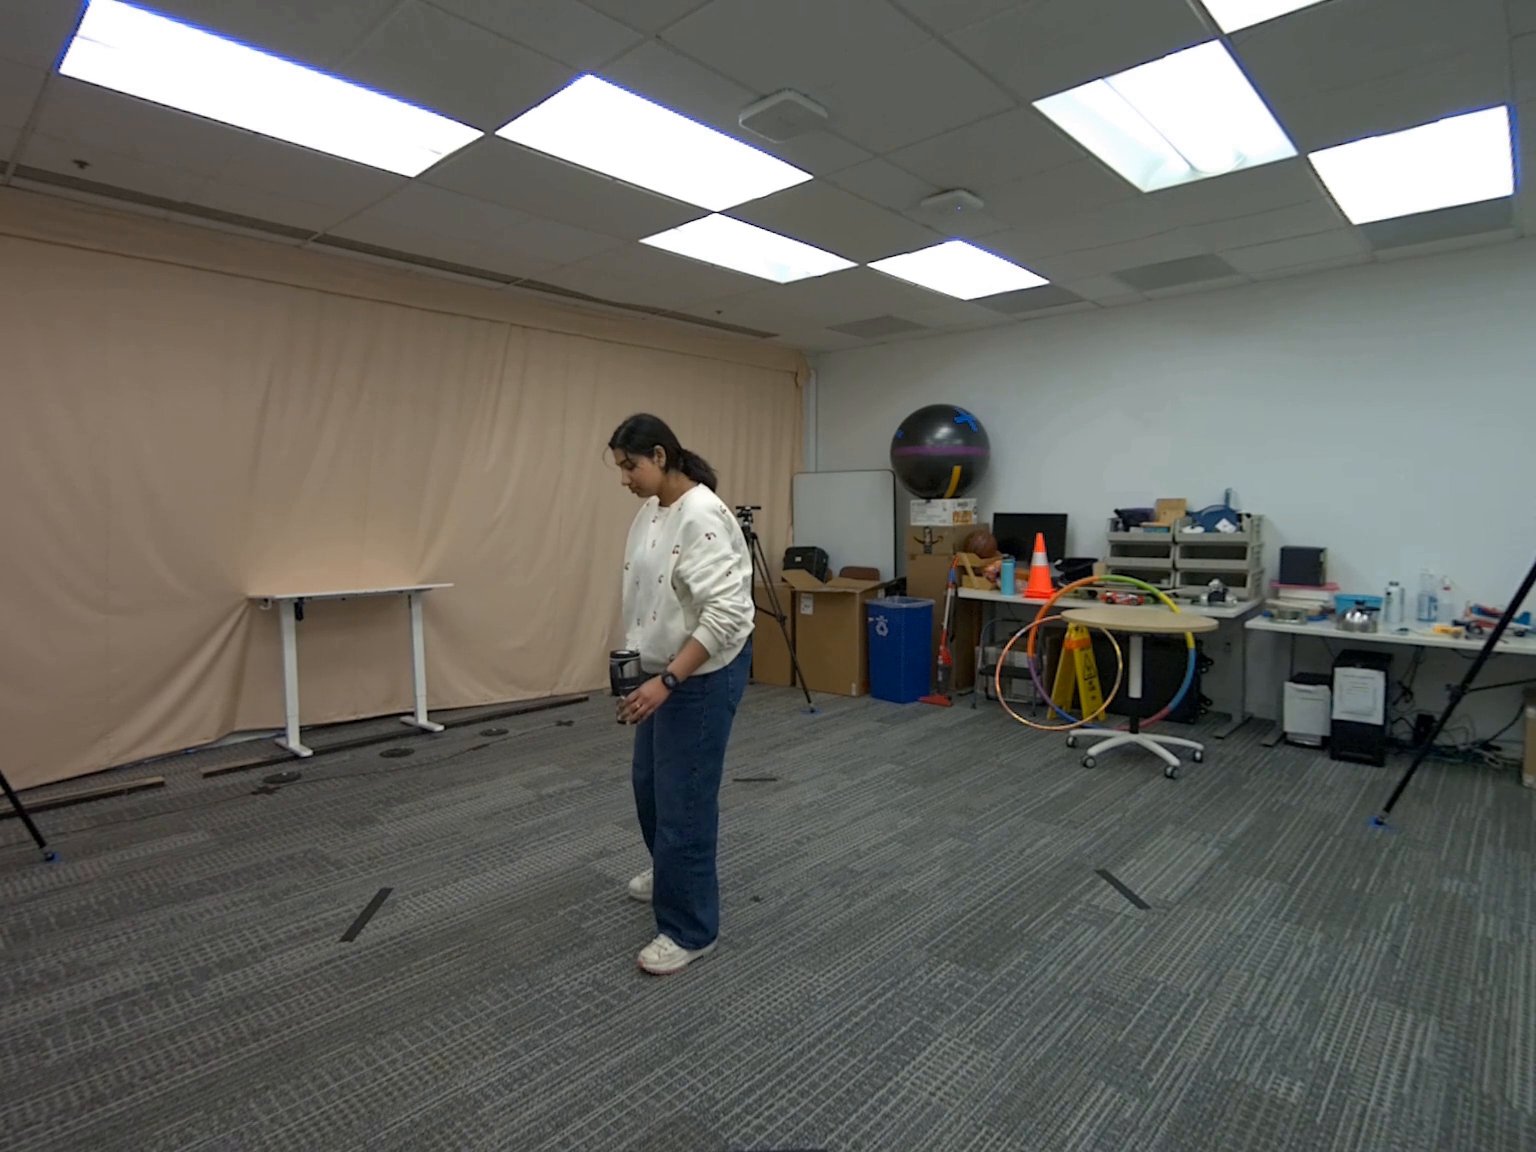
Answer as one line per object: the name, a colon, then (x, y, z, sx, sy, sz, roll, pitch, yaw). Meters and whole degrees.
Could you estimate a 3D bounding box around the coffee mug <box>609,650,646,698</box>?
coffee mug: (-0.405, 0.317, 2.385, 0.090, 0.203, 0.118, 4, 2, 34)
